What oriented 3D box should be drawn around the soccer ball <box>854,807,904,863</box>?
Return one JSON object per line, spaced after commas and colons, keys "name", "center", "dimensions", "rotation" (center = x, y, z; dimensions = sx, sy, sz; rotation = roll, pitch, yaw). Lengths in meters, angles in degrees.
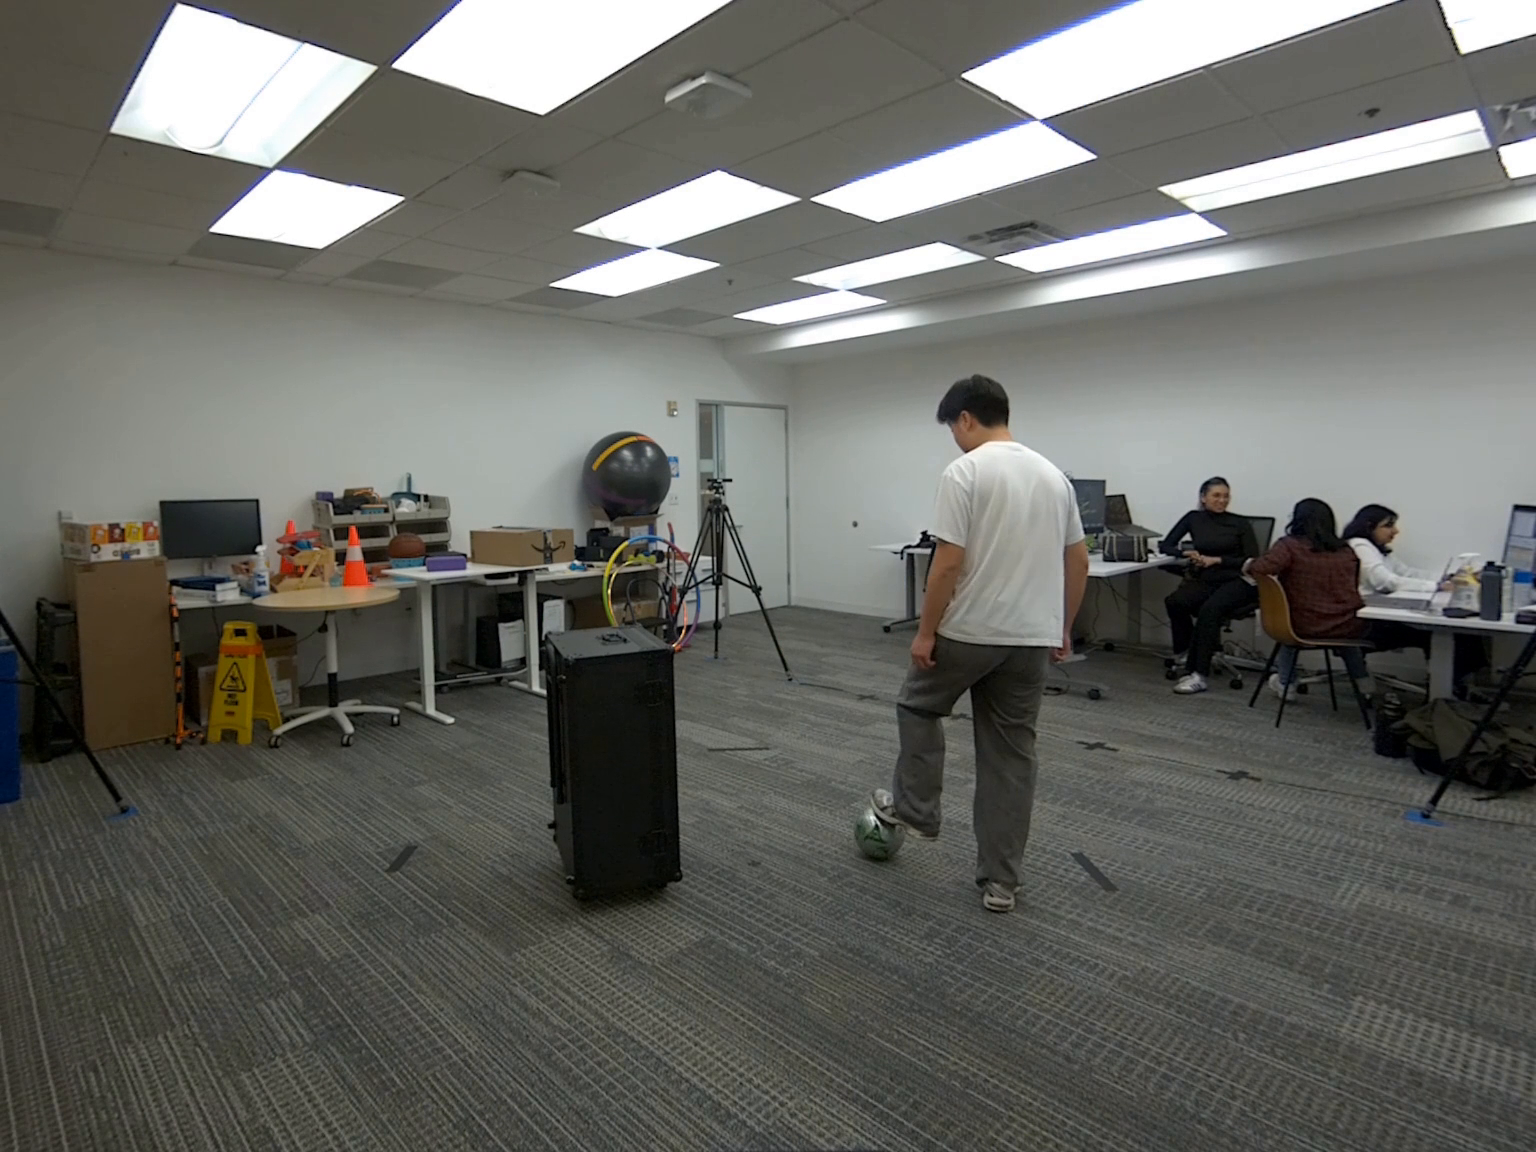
{"name": "soccer ball", "center": [0.408, 0.937, 3.132], "dimensions": [0.187, 0.187, 0.188], "rotation": [-1, 5, -2]}
